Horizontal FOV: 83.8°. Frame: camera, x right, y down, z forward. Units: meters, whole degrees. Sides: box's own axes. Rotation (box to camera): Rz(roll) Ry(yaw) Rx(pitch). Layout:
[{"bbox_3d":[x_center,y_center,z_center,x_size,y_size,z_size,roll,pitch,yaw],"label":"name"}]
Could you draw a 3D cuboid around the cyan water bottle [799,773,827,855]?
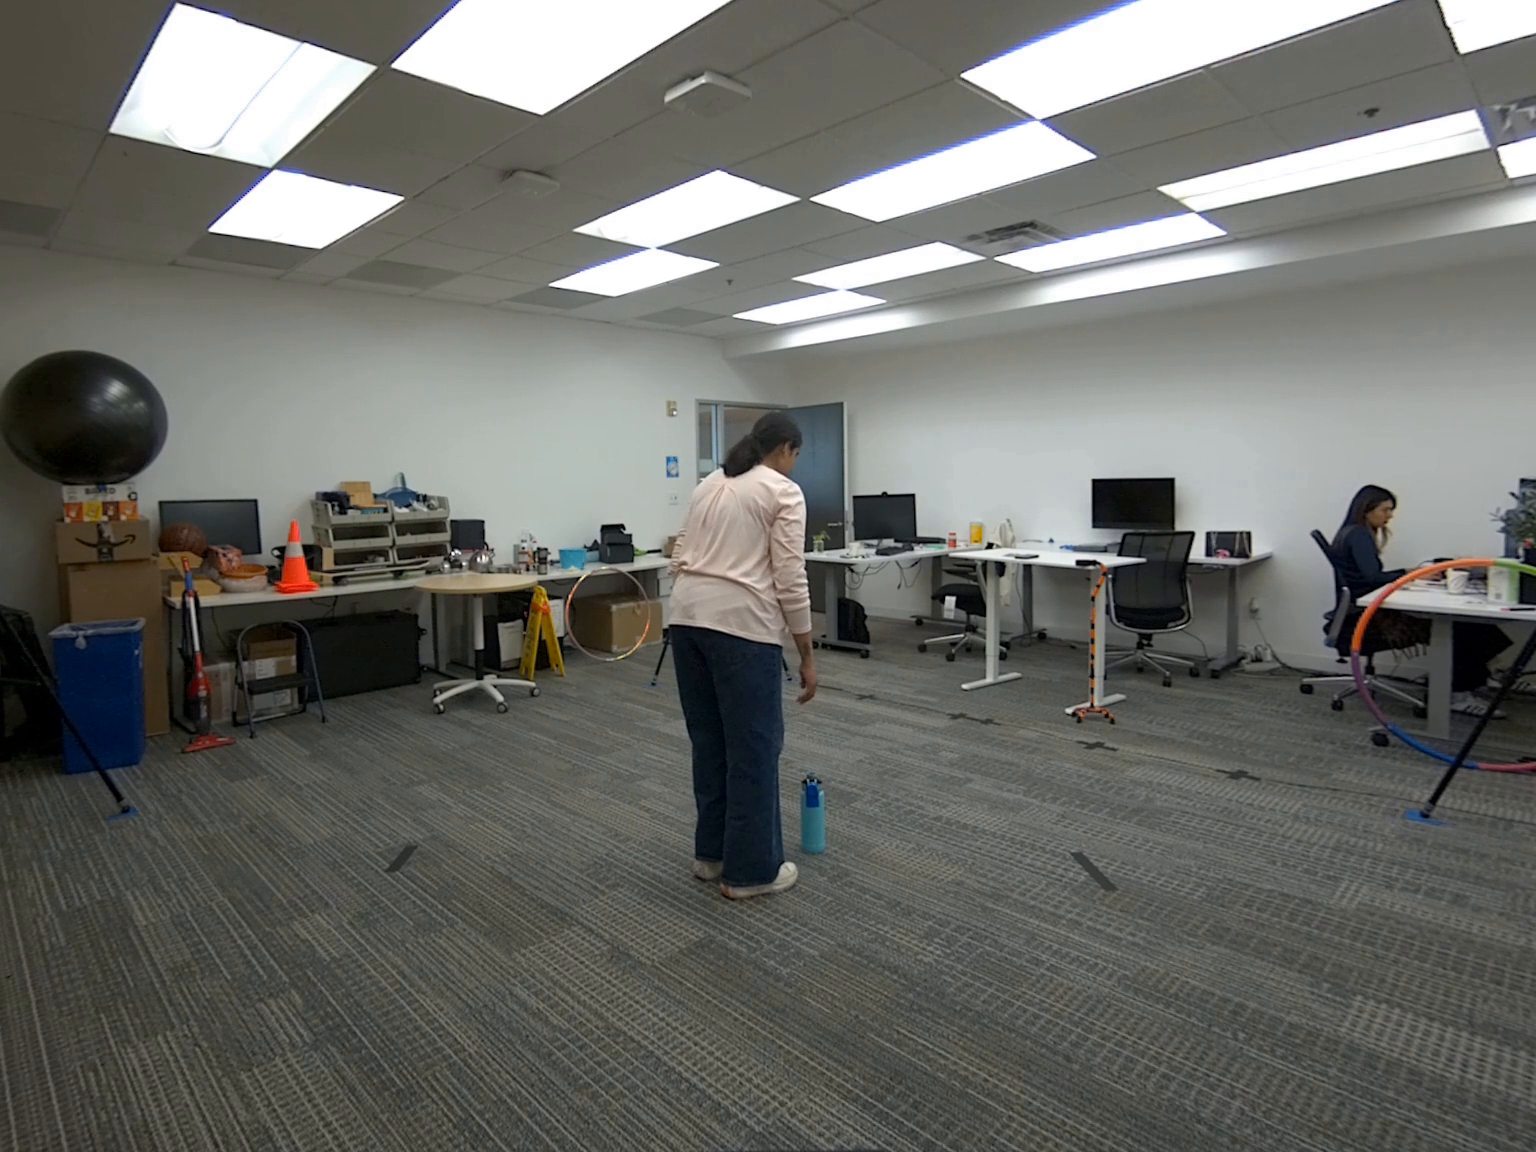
[{"bbox_3d":[0.168,0.889,3.214,0.092,0.282,0.093,-2,4,-2],"label":"cyan water bottle"}]
